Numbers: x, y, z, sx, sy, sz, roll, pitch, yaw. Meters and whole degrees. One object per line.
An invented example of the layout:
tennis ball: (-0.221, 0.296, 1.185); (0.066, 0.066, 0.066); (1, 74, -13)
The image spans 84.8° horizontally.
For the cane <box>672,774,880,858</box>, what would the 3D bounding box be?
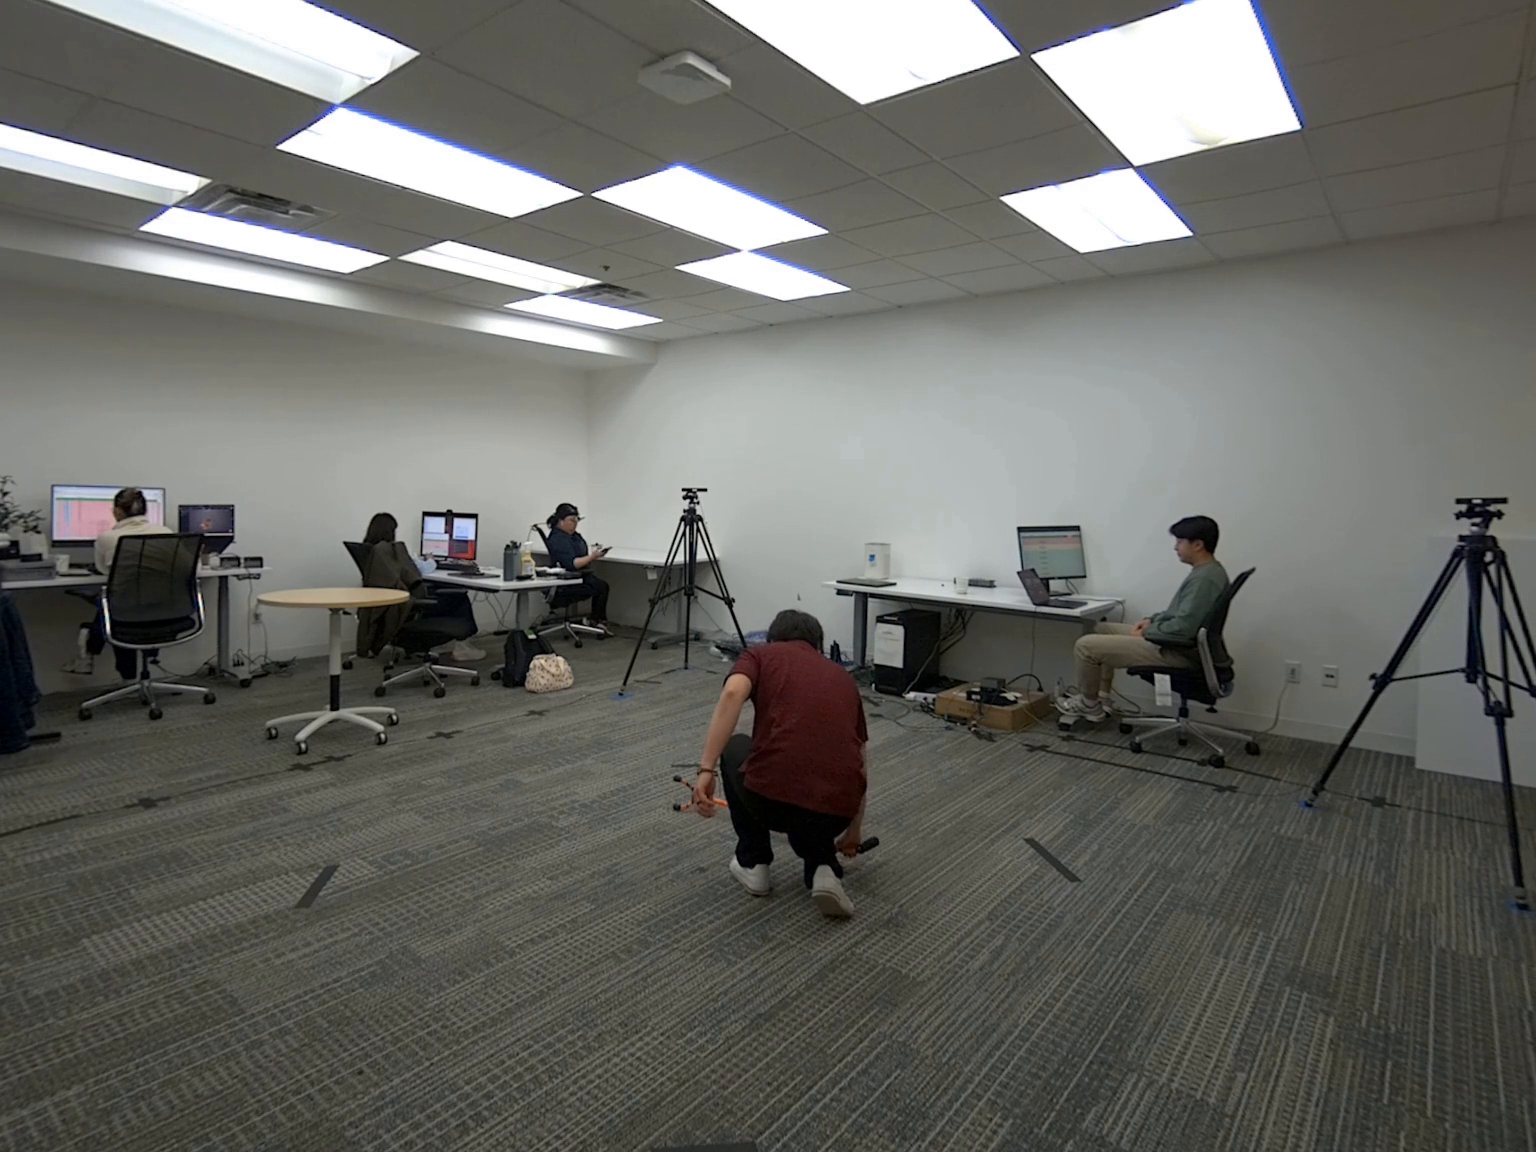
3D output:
cane: (0.000, 0.945, 3.444); (0.939, 0.151, 0.200); (5, 5, 41)
